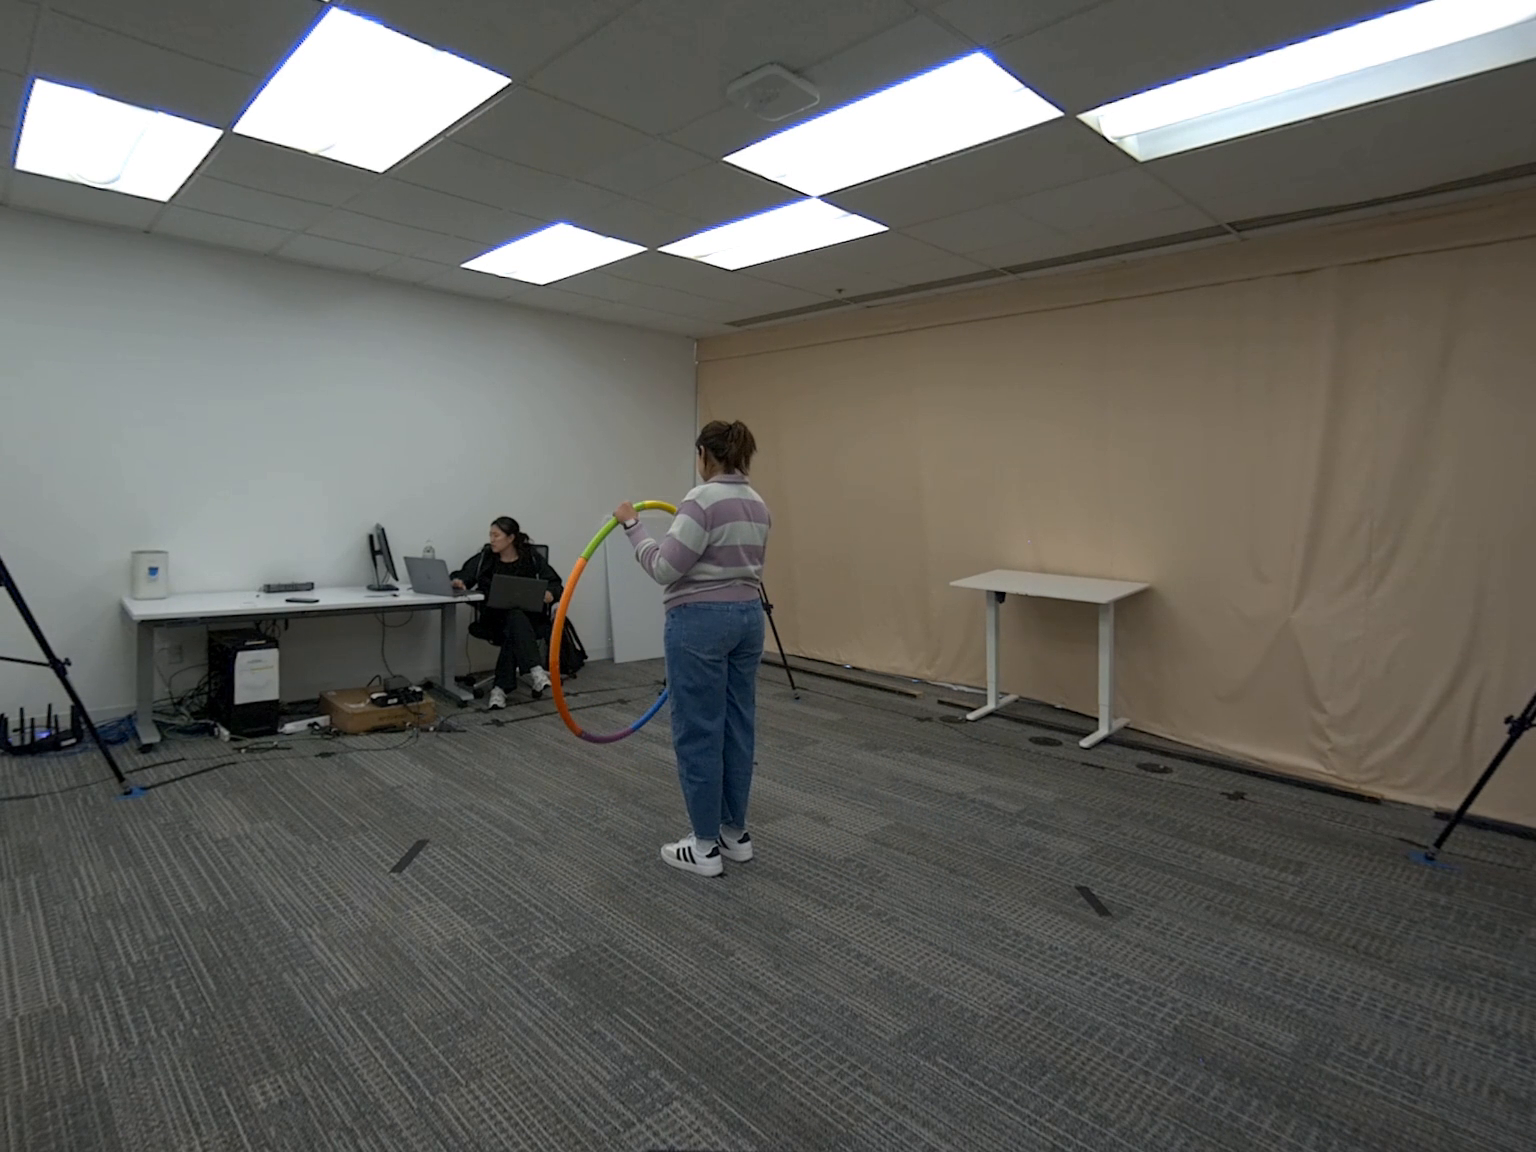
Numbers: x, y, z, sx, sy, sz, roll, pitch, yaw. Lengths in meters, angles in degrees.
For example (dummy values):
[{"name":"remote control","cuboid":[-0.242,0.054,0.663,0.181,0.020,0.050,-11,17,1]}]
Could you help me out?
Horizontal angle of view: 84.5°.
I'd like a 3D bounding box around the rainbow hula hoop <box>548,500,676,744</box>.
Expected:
[{"name":"rainbow hula hoop","cuboid":[-0.527,0.189,3.362,0.036,0.974,0.961,13,9,26]}]
